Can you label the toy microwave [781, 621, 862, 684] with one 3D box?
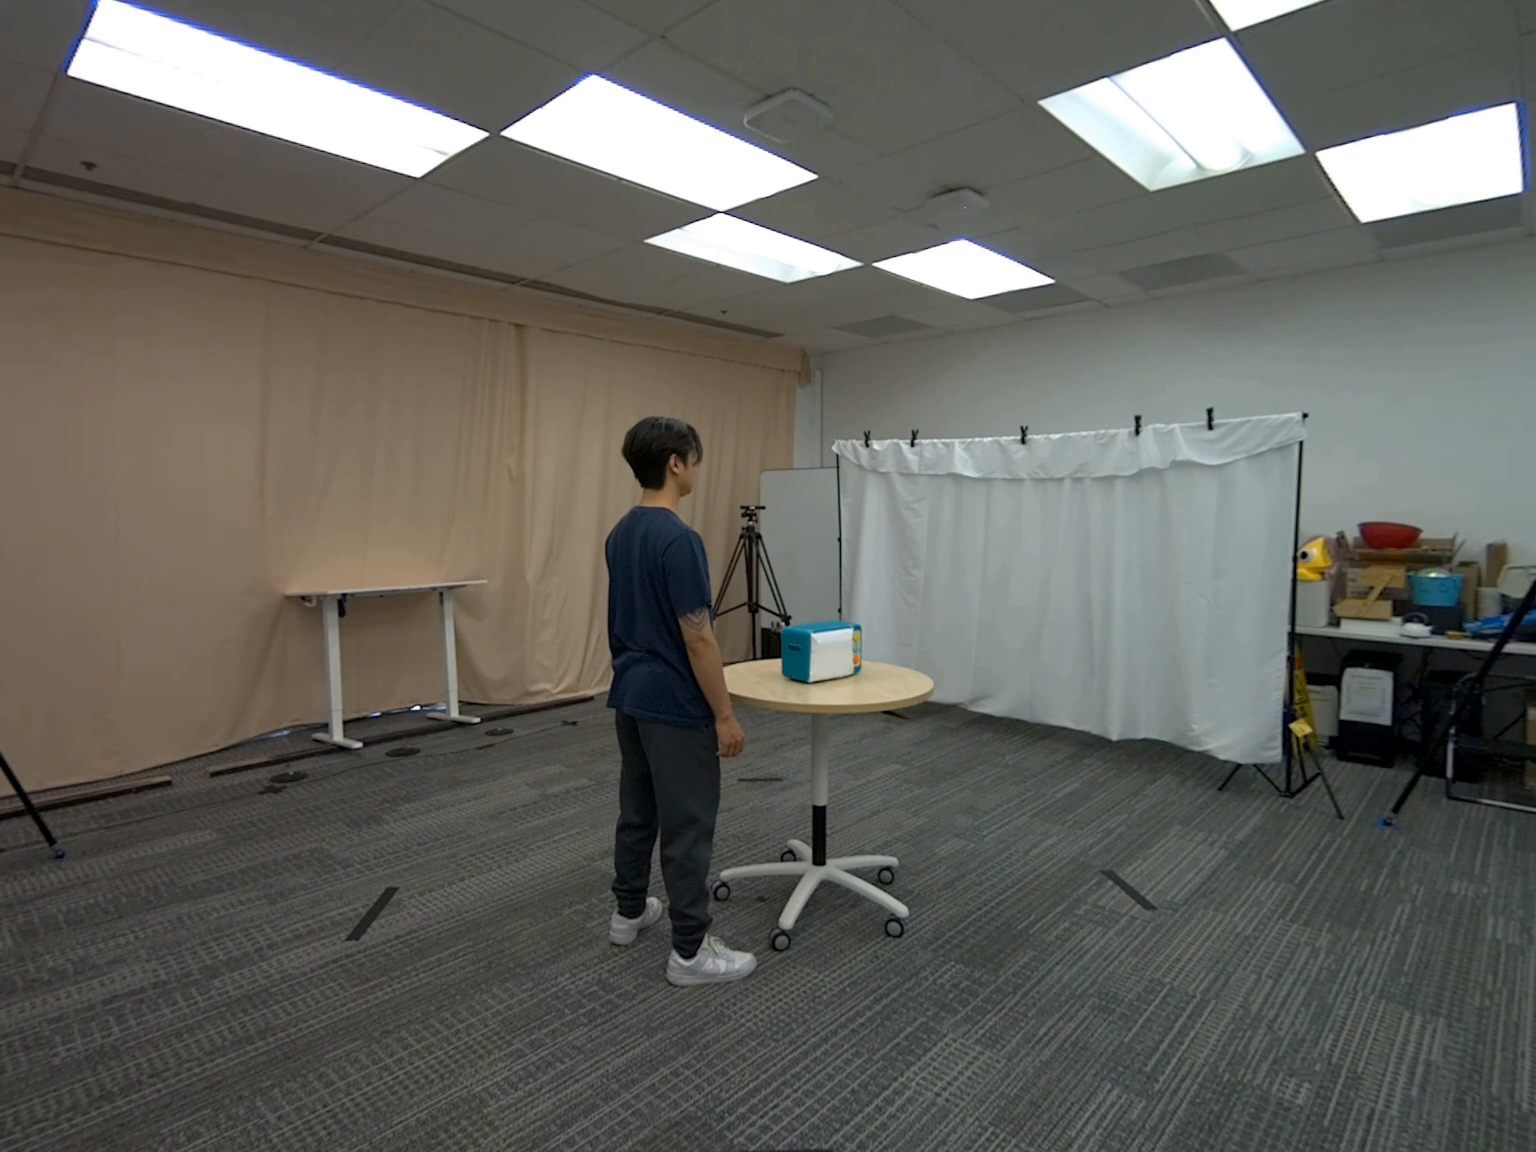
[{"bbox_3d":[0.198,0.262,2.921,0.277,0.184,0.157,-3,5,-39],"label":"toy microwave"}]
